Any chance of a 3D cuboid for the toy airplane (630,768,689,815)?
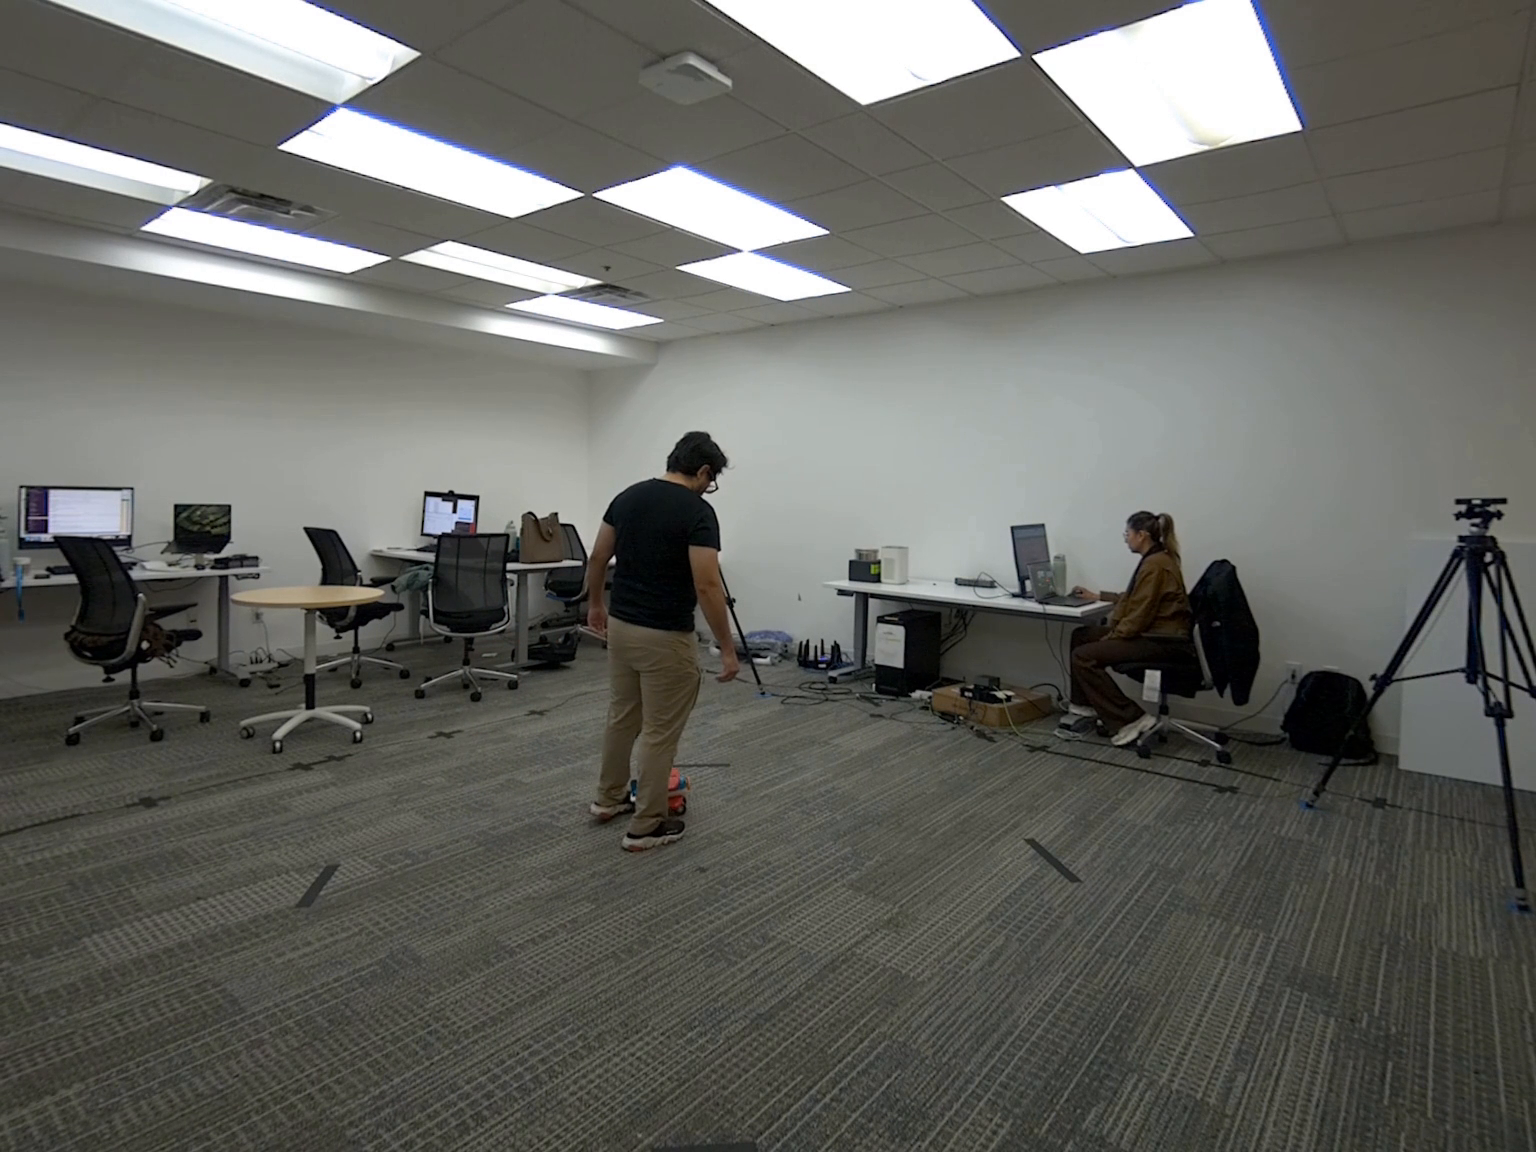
[{"bbox_3d":[-0.473,0.942,3.650,0.252,0.156,0.259,1,4,-32],"label":"toy airplane"}]
